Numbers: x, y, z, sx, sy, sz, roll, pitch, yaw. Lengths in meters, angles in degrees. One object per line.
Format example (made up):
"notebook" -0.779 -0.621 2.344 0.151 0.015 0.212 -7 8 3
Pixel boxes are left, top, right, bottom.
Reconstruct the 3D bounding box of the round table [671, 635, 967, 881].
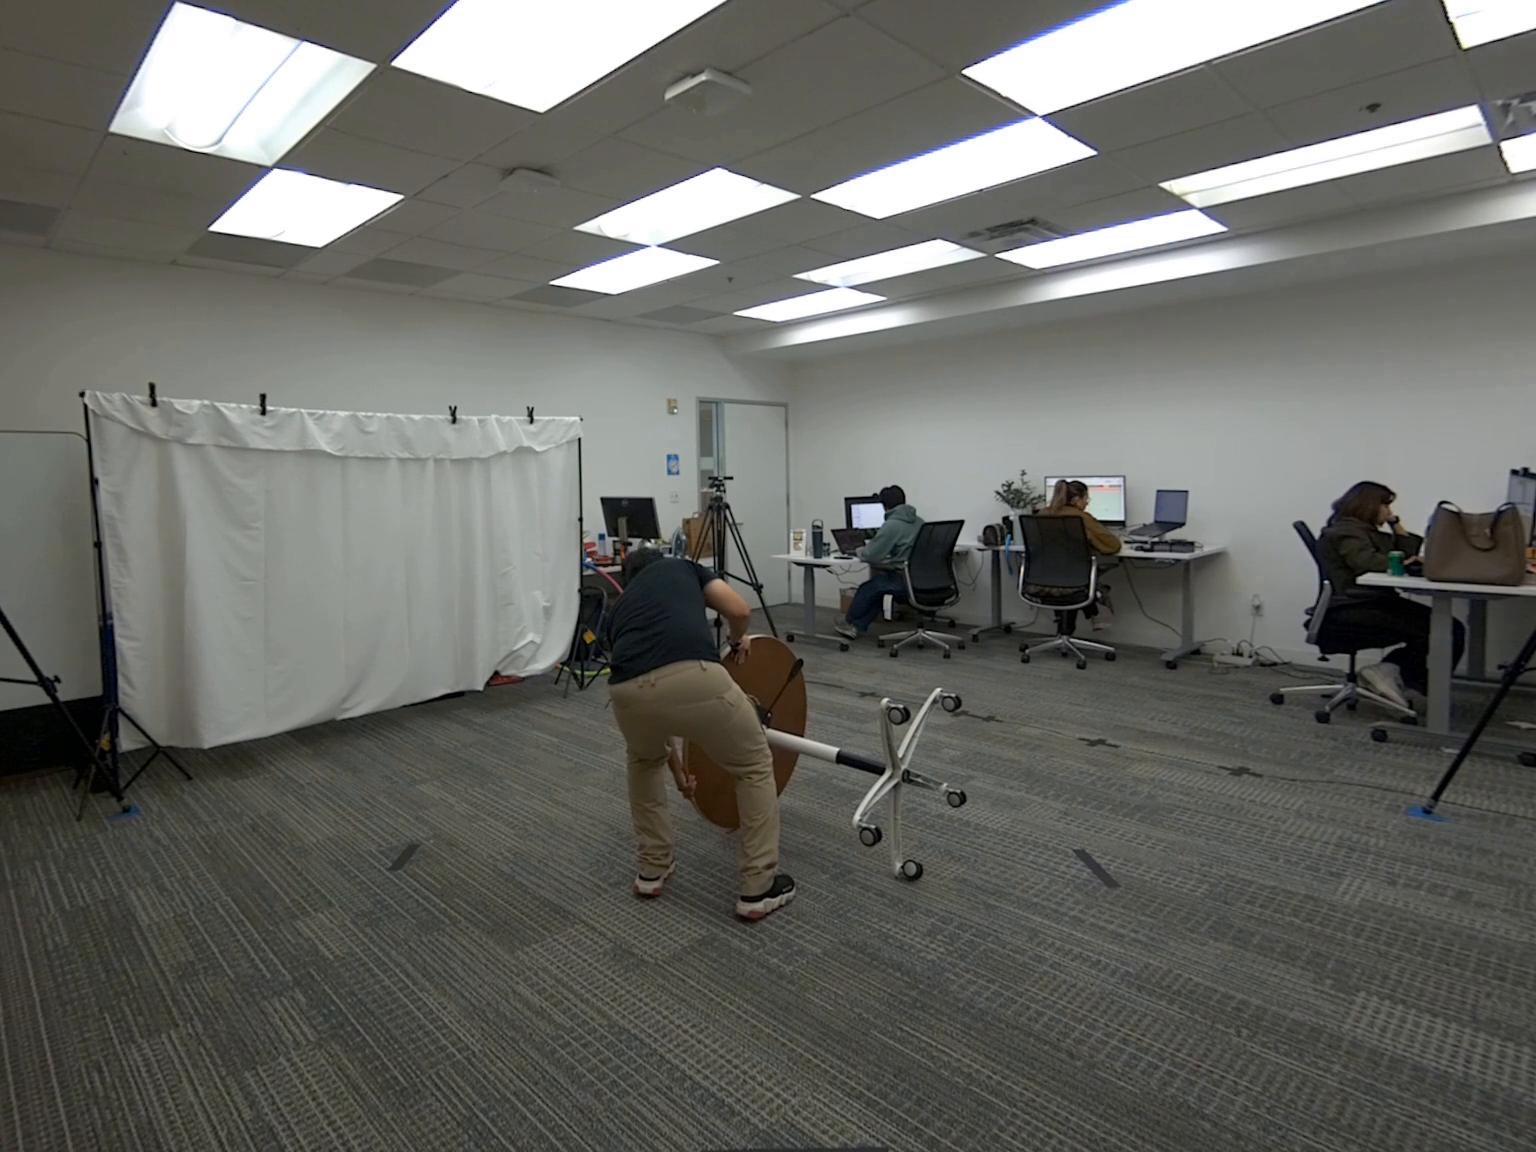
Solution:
"round table" 0.233 0.650 3.170 0.811 0.781 0.765 7 9 38
